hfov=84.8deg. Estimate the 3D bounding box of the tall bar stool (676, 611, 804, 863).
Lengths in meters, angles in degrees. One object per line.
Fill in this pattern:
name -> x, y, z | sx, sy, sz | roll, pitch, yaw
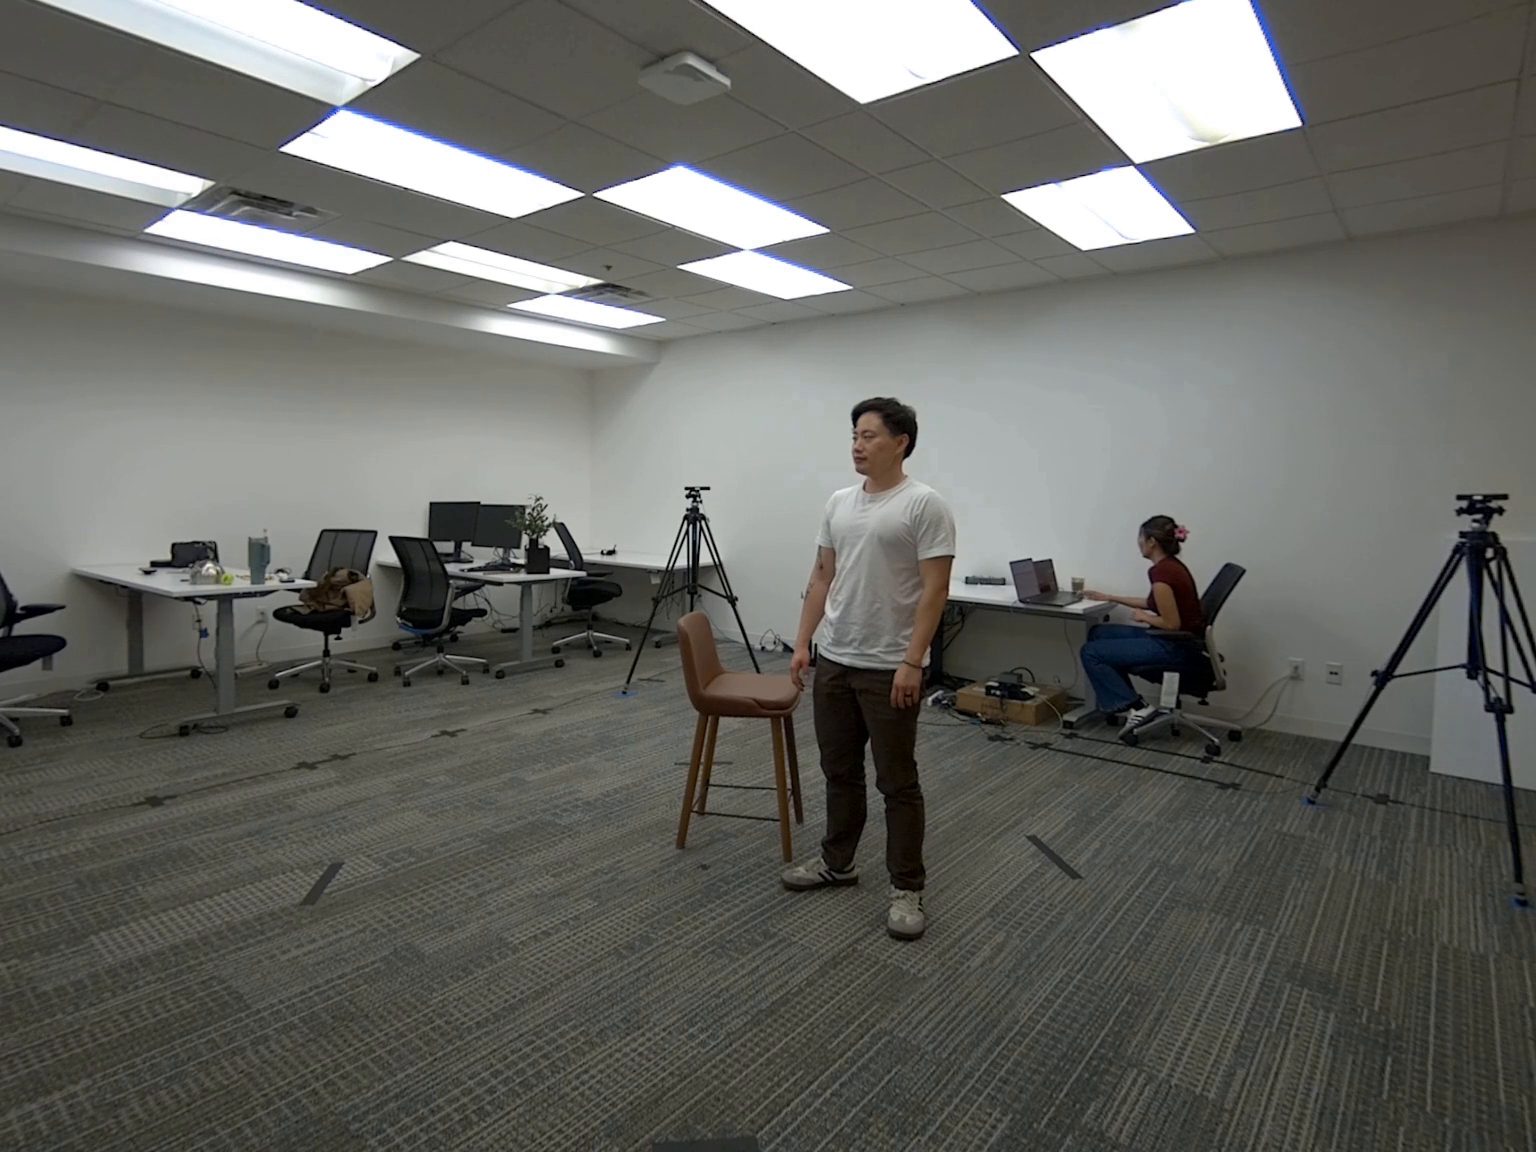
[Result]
tall bar stool -> -0.114, 0.604, 3.397 | 0.474, 0.888, 0.451 | 0, 3, 12
